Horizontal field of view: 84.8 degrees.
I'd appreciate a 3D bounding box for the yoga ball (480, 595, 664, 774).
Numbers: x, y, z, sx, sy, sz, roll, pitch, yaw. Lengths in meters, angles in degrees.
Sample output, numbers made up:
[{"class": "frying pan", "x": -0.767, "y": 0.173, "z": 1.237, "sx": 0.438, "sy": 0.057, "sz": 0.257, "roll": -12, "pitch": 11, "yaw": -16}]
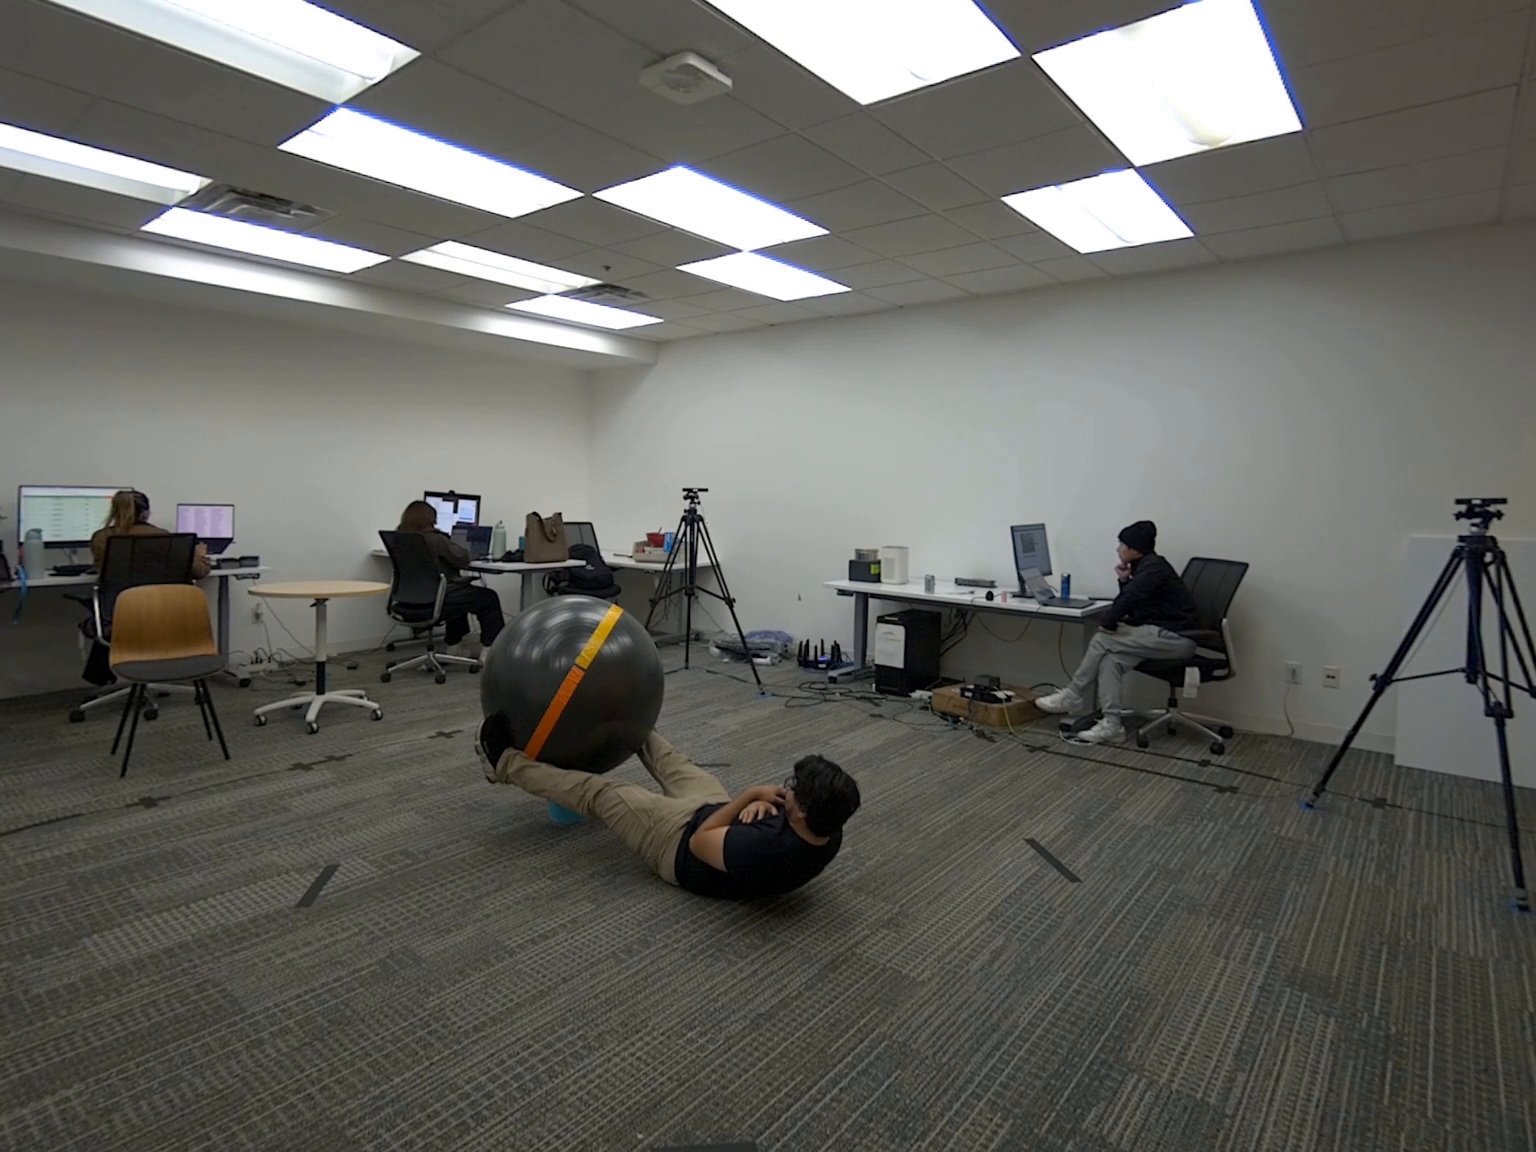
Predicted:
[{"class": "yoga ball", "x": -0.824, "y": 0.462, "z": 3.558, "sx": 0.757, "sy": 0.755, "sz": 0.762, "roll": 1, "pitch": 4, "yaw": -2}]
